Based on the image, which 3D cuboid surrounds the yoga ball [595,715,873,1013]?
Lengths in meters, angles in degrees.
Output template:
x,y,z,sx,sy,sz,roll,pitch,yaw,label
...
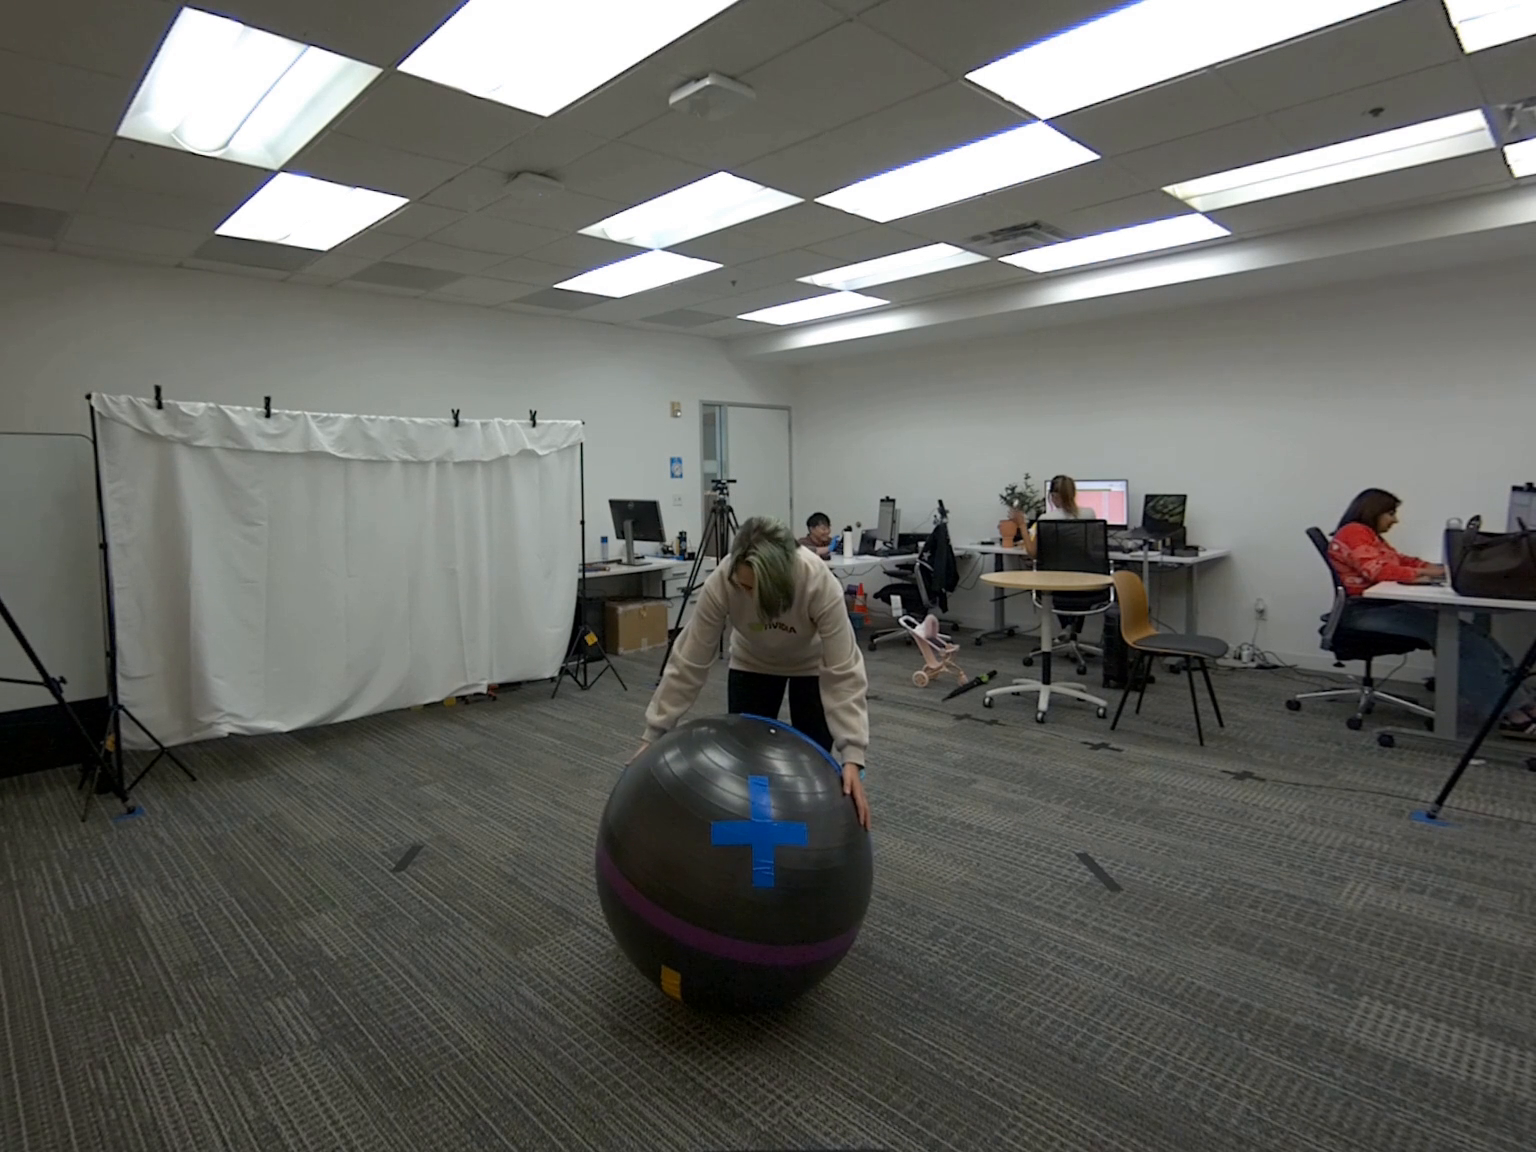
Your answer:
x,y,z,sx,sy,sz,roll,pitch,yaw,label
-0.087,0.764,2.336,0.757,0.755,0.762,-1,5,-2,yoga ball
